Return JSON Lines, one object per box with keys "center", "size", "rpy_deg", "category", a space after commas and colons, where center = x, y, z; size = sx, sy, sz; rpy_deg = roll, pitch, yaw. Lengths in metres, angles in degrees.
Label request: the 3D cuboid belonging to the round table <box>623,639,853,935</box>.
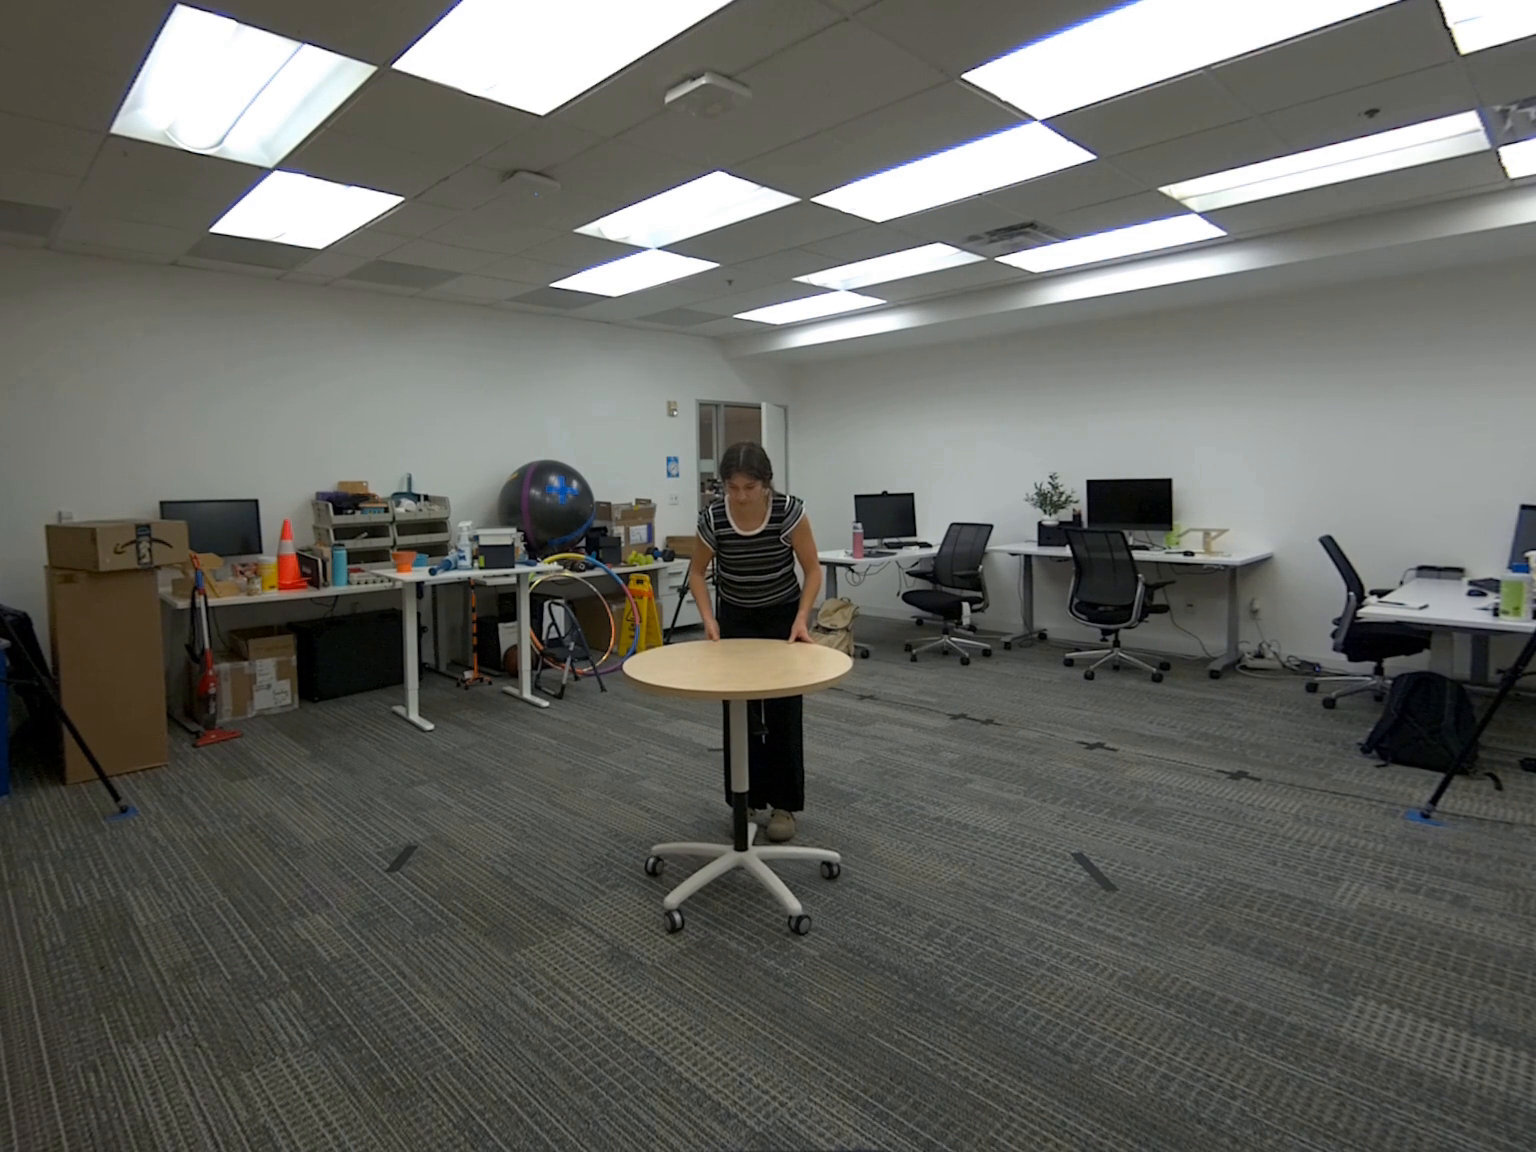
{"center": [-0.112, 0.679, 2.893], "size": [0.784, 0.784, 0.789], "rpy_deg": [-1, 5, -2], "category": "round table"}
